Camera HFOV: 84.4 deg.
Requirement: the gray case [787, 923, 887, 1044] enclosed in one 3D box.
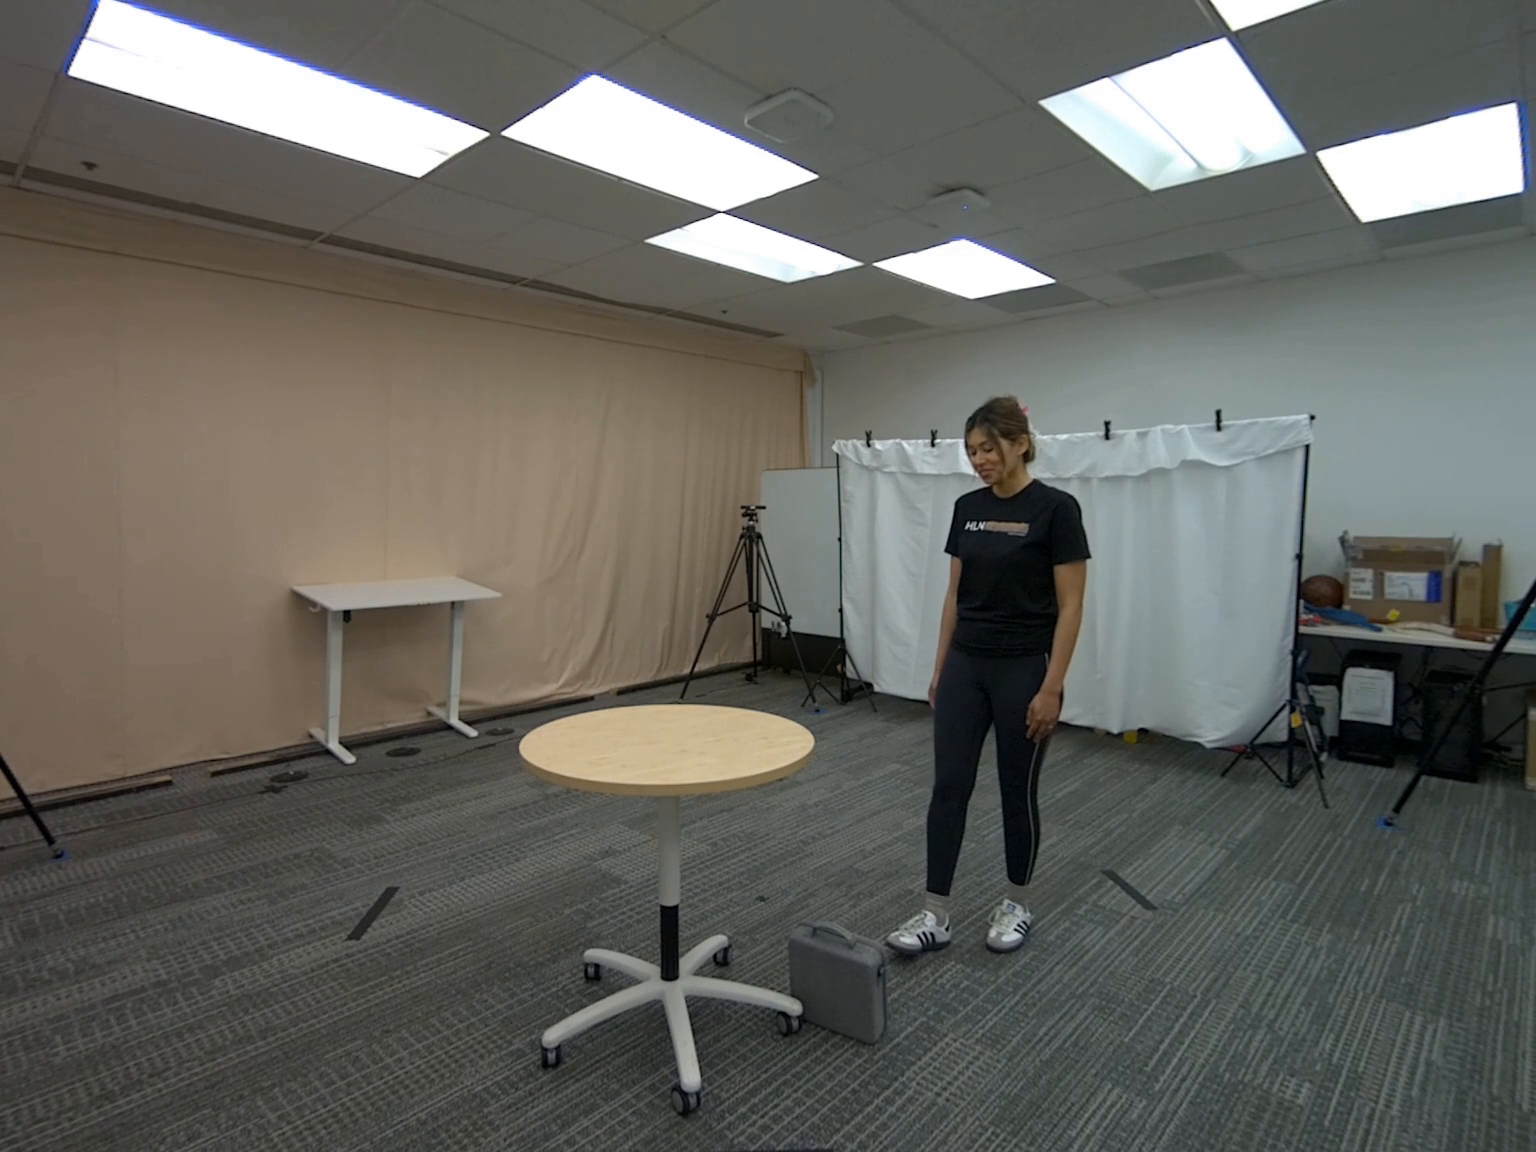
[{"bbox_3d":[0.194,1.073,2.239,0.265,0.259,0.102,2,10,33],"label":"gray case"}]
